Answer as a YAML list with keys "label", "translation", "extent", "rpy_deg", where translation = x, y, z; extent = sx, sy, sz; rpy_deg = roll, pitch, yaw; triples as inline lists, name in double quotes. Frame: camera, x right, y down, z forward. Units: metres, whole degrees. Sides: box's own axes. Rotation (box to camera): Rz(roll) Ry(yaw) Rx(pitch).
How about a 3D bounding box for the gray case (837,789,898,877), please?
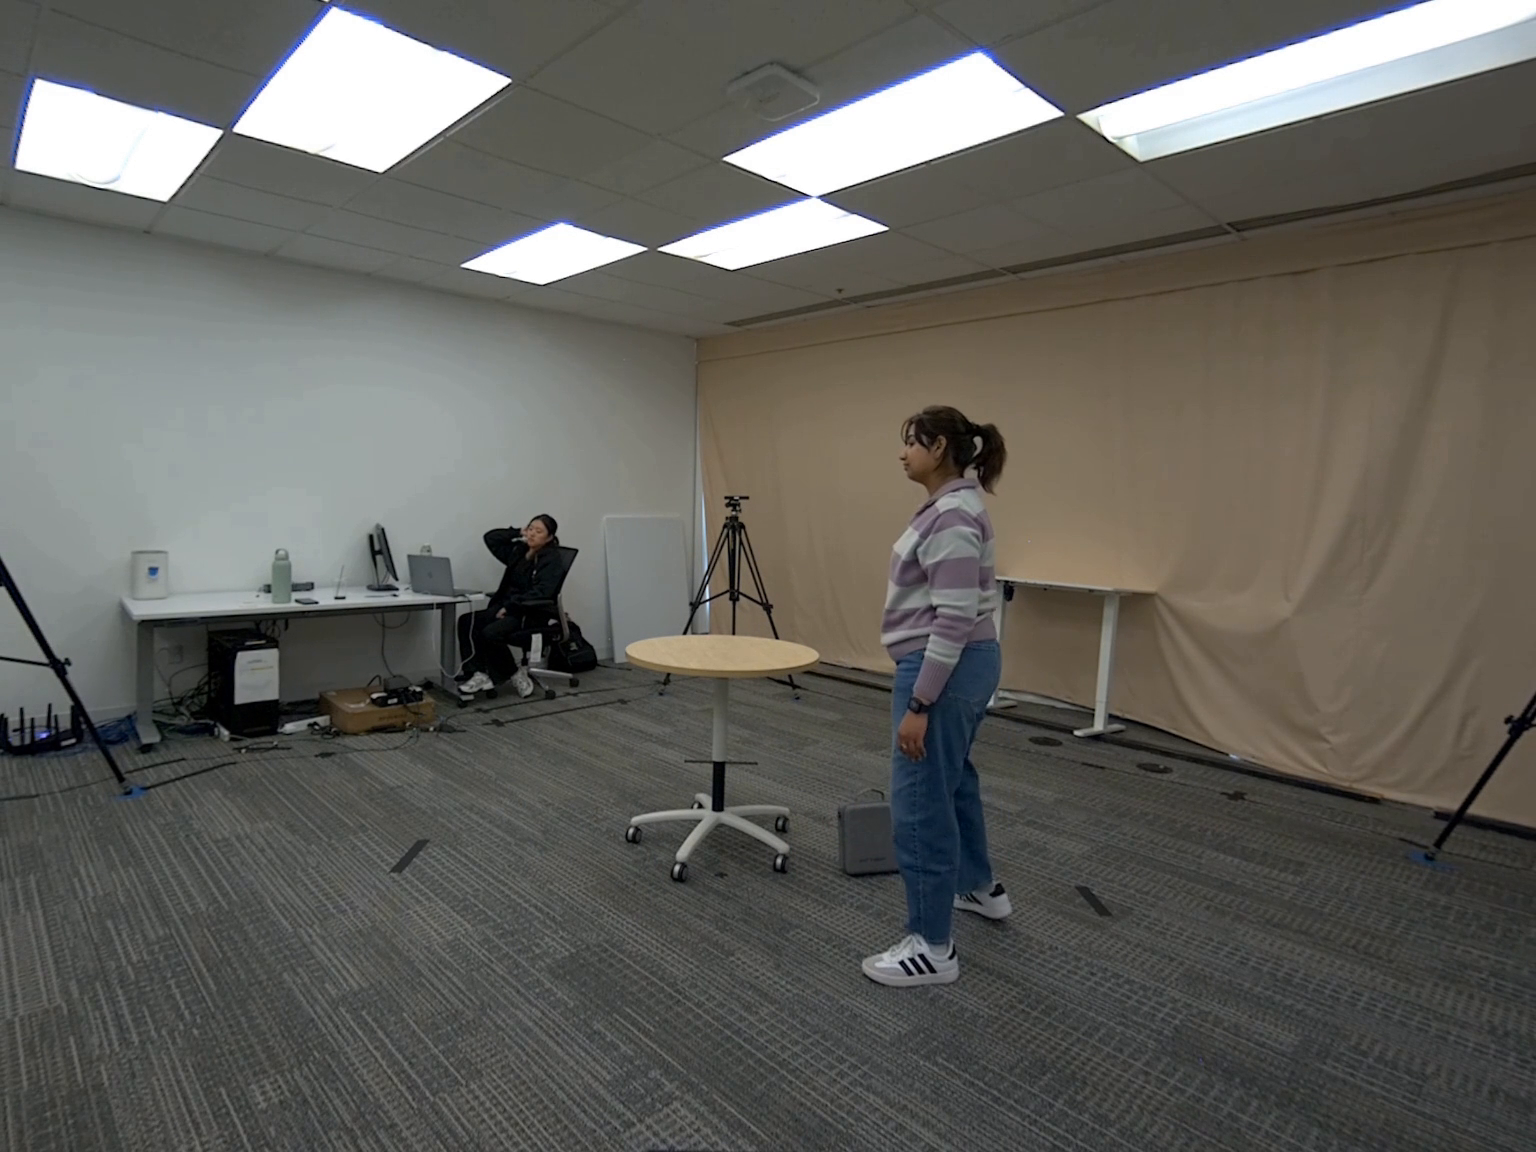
- label: "gray case"
  translation: [0.386, 0.973, 3.179]
  extent: [0.254, 0.262, 0.105]
  rpy_deg: [0, -5, -15]
